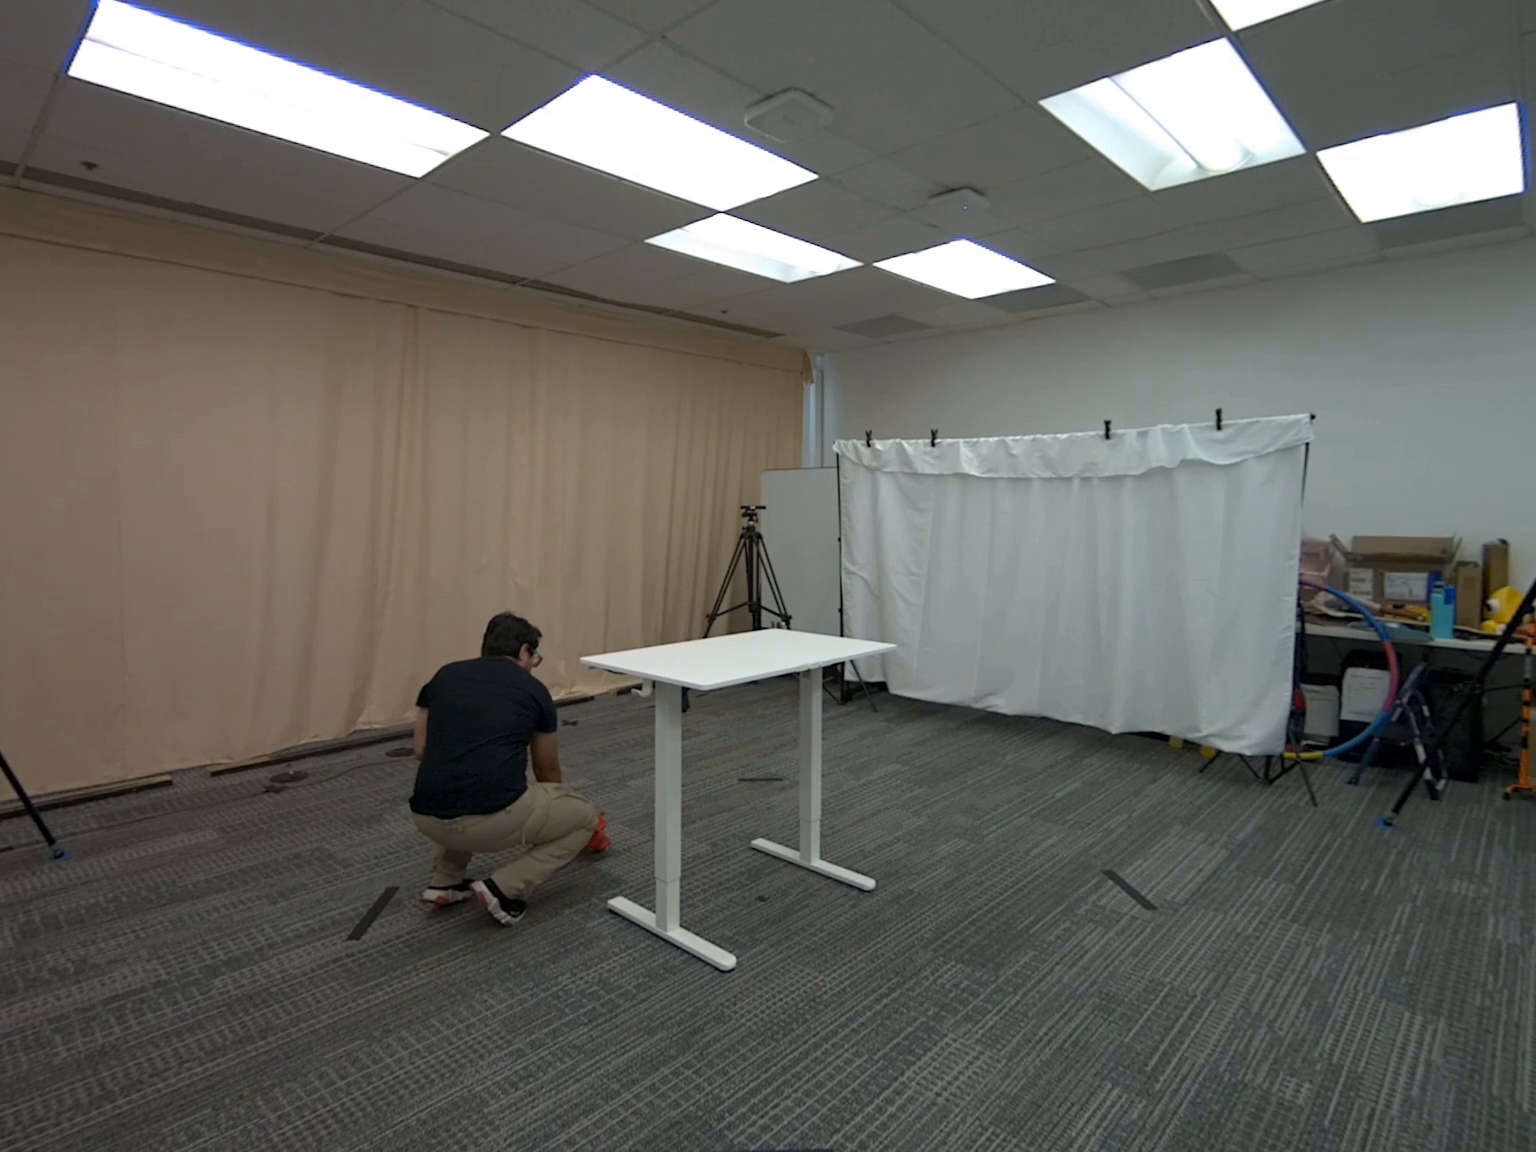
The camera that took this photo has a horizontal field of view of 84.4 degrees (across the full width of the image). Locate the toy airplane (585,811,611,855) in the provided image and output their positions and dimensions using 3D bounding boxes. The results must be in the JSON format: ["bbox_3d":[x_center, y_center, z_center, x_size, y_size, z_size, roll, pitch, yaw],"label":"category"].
[{"bbox_3d":[-0.748,1.042,3.360,0.254,0.156,0.257,1,3,9],"label":"toy airplane"}]
